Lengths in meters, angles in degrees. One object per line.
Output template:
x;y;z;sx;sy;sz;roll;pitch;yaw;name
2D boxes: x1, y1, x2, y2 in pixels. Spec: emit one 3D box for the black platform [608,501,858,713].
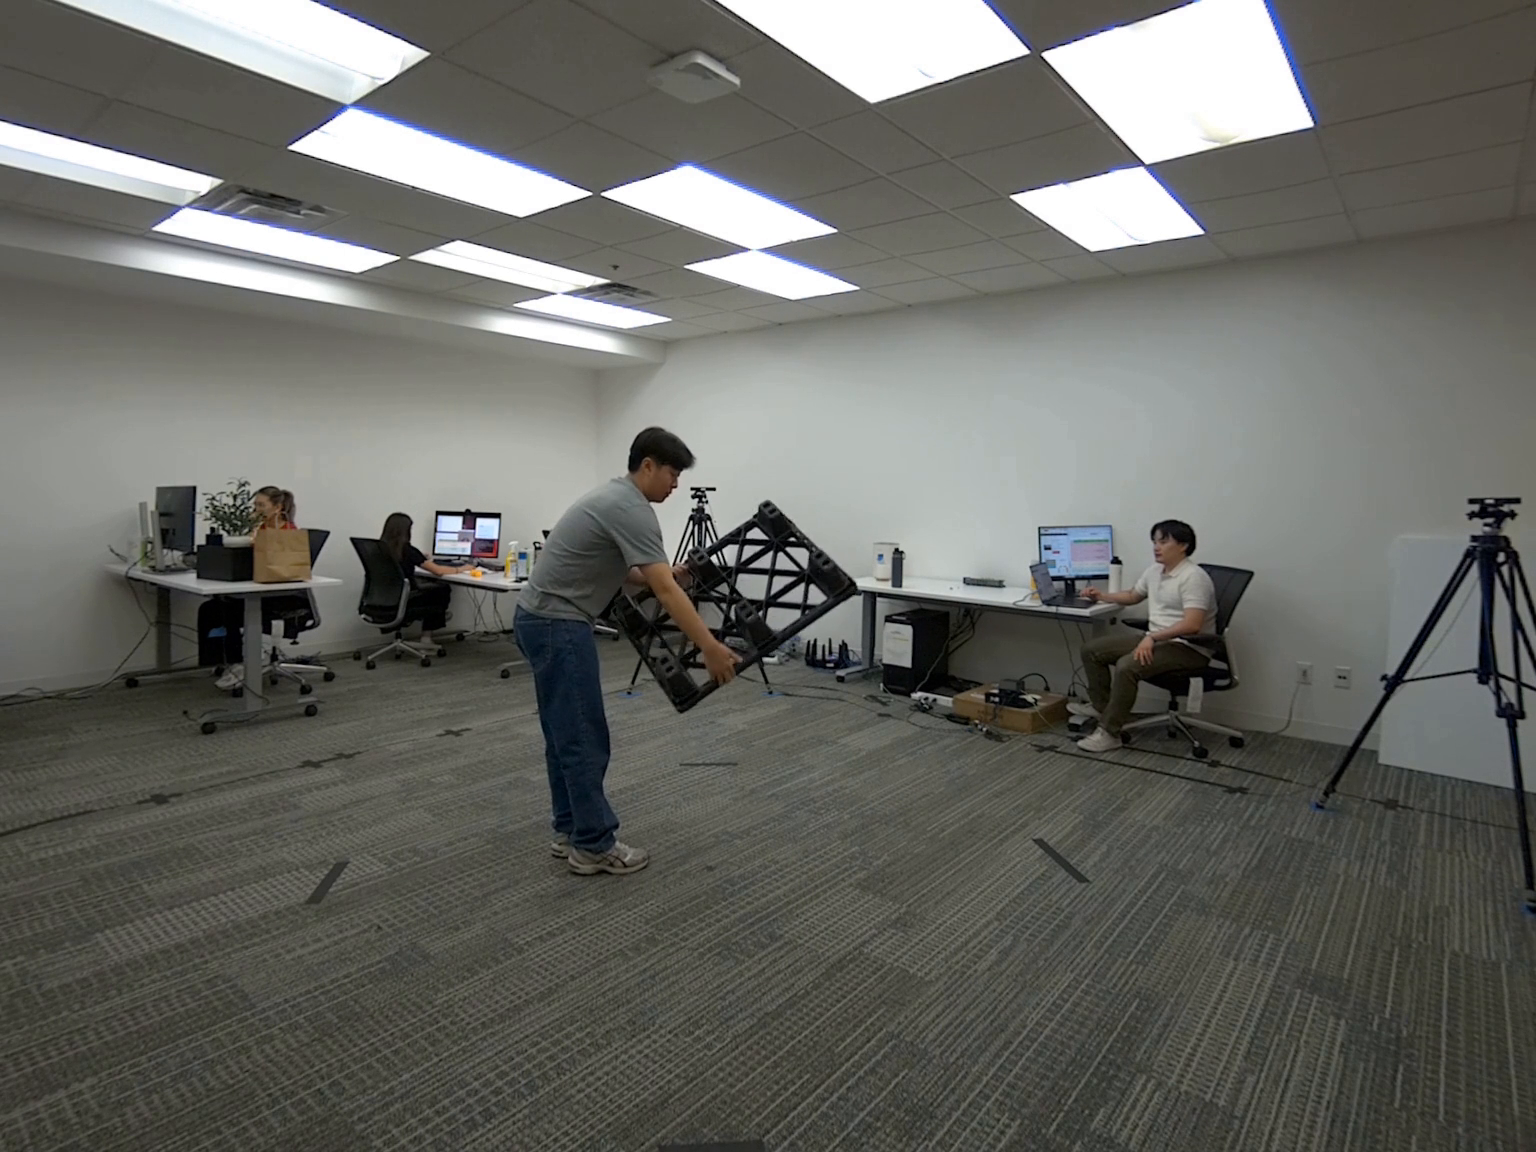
-0.175;0.063;3.234;0.802;0.138;0.631;-34;47;-10;black platform
